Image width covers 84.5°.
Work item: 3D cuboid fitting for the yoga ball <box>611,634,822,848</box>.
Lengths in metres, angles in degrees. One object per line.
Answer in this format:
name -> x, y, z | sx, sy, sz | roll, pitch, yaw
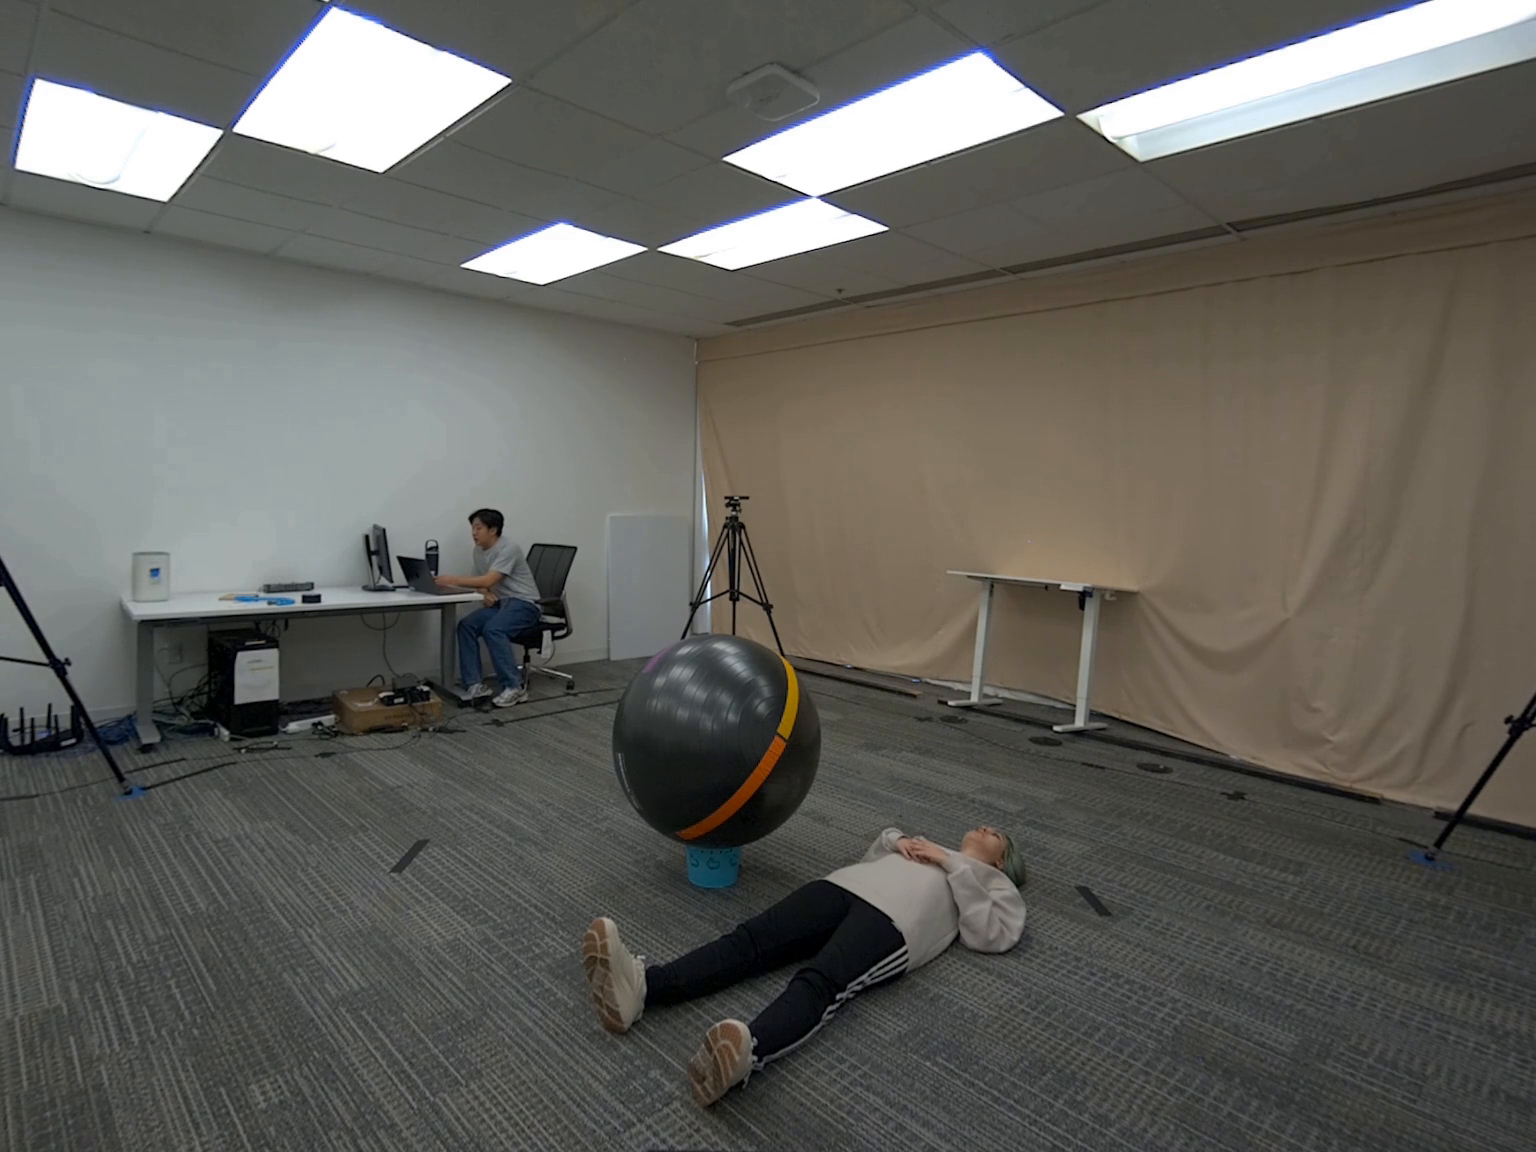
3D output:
yoga ball -> -0.192, 0.593, 3.063 | 0.757, 0.756, 0.761 | 1, 4, -1
